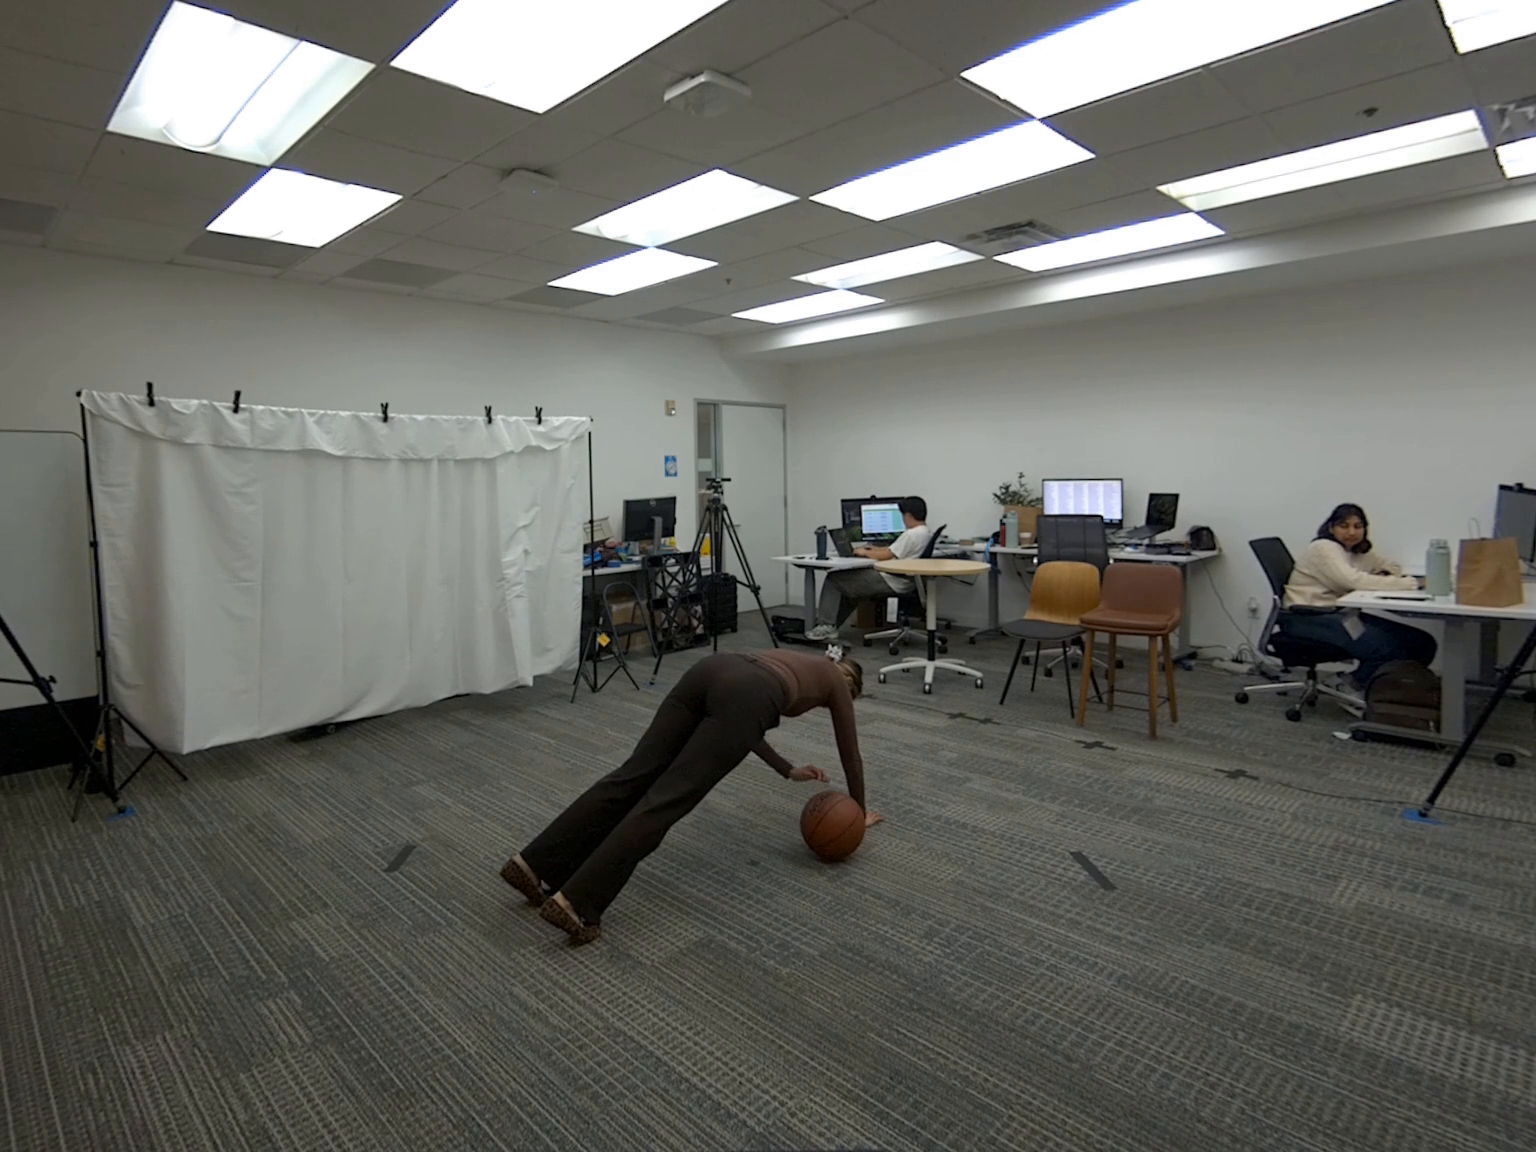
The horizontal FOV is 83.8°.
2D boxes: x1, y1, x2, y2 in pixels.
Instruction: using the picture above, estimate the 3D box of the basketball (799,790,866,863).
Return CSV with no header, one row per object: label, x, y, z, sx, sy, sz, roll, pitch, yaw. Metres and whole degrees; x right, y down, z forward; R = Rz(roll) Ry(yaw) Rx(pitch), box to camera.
basketball,0.238,0.909,3.143,0.236,0.235,0.237,-1,5,-2
